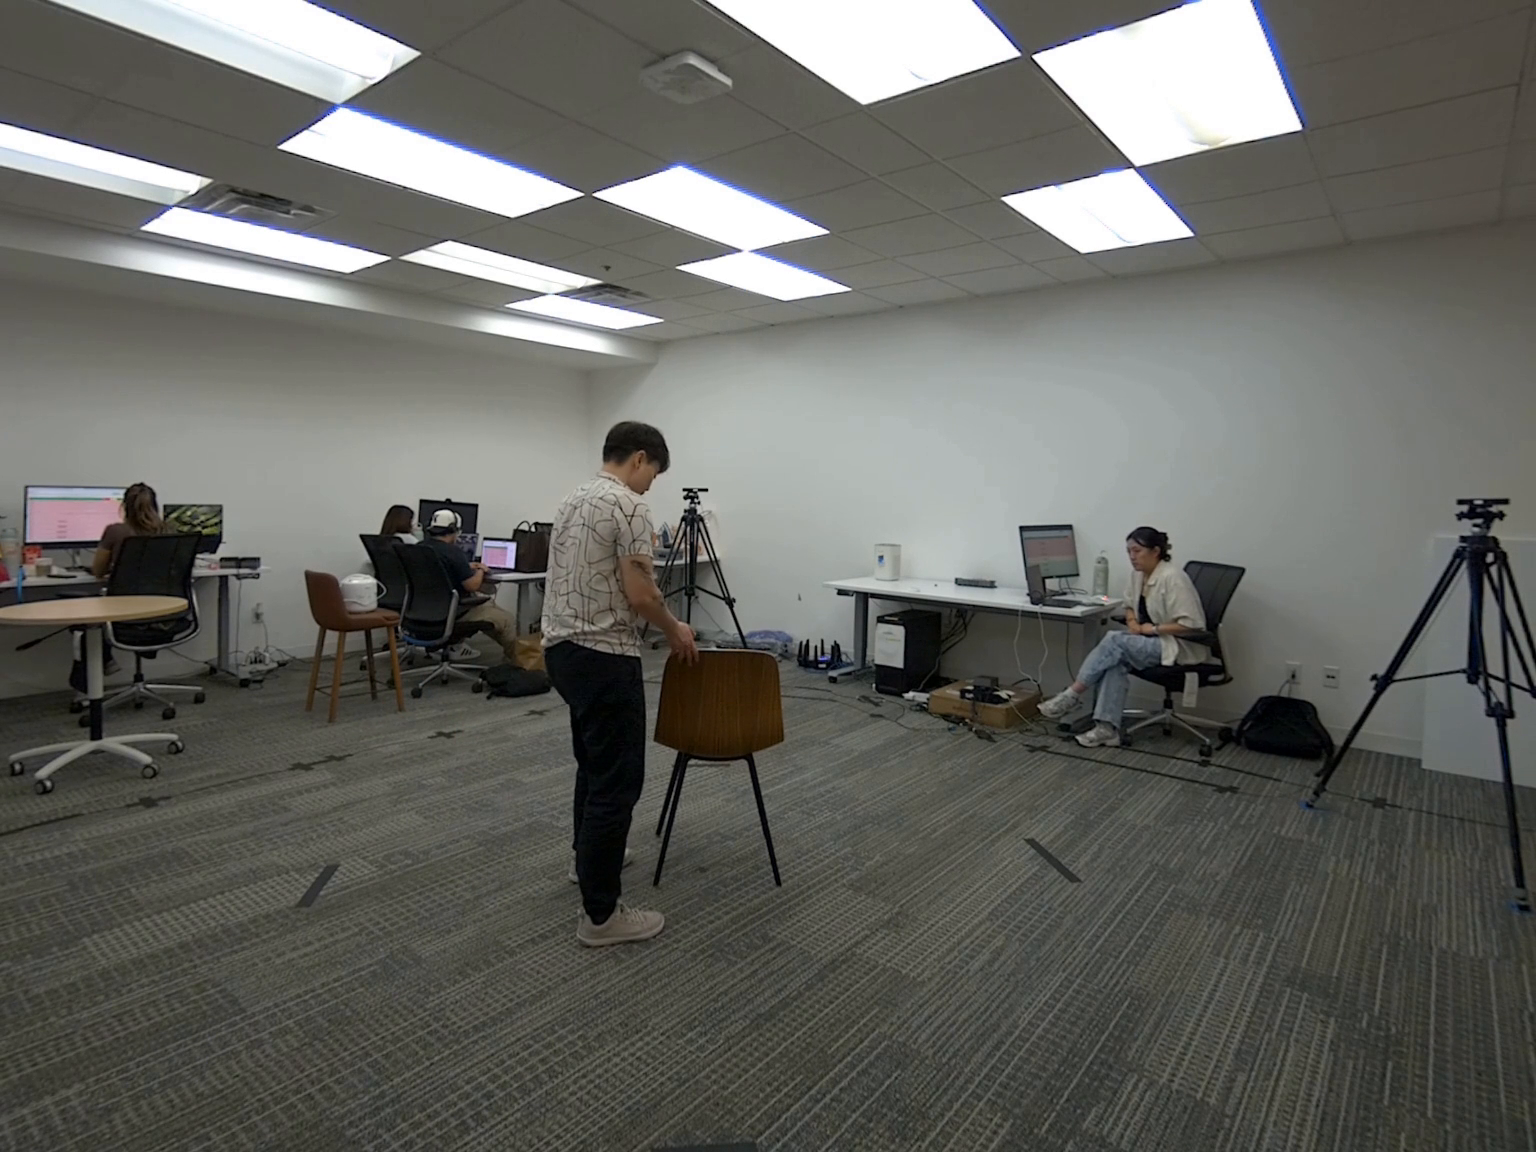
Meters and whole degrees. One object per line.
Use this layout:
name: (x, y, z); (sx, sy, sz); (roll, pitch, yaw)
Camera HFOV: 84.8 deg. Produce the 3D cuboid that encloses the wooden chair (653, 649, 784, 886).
wooden chair: (-0.207, 0.637, 3.180); (0.476, 0.871, 0.530); (0, 7, -6)
